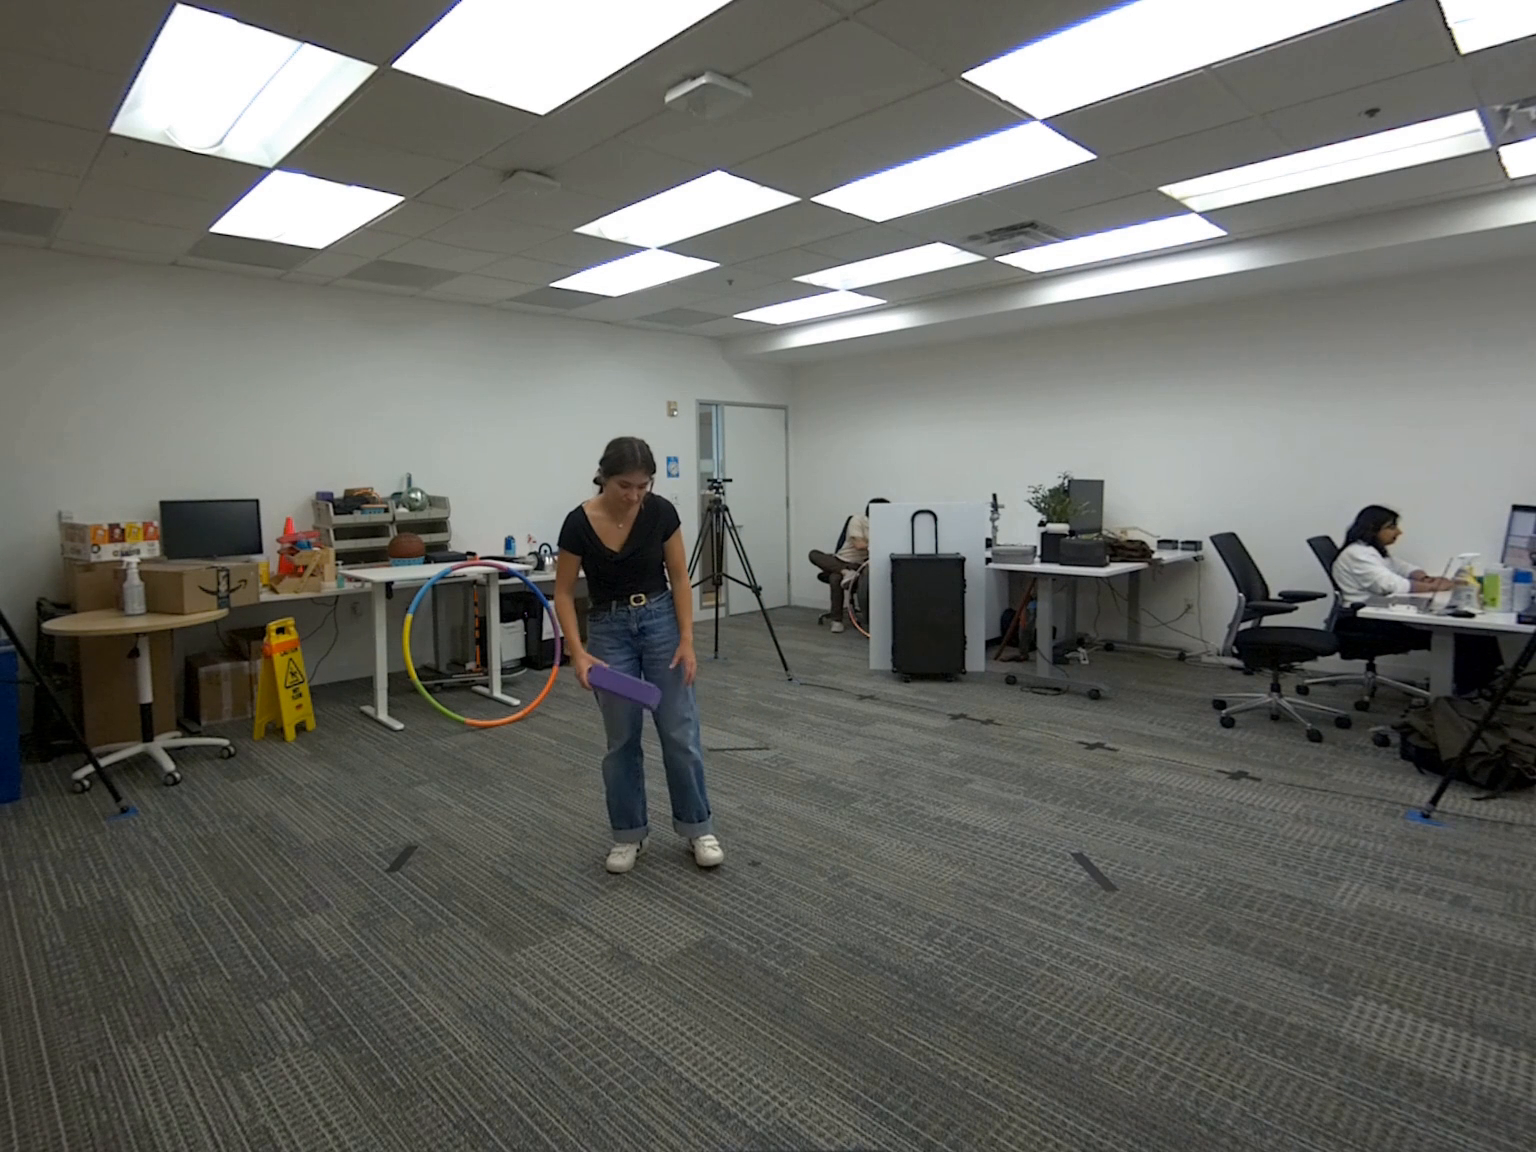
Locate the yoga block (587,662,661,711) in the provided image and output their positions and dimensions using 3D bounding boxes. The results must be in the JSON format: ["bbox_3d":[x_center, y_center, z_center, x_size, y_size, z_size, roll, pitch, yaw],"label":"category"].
[{"bbox_3d":[-0.503,0.389,2.931,0.231,0.077,0.147,20,-10,6],"label":"yoga block"}]
